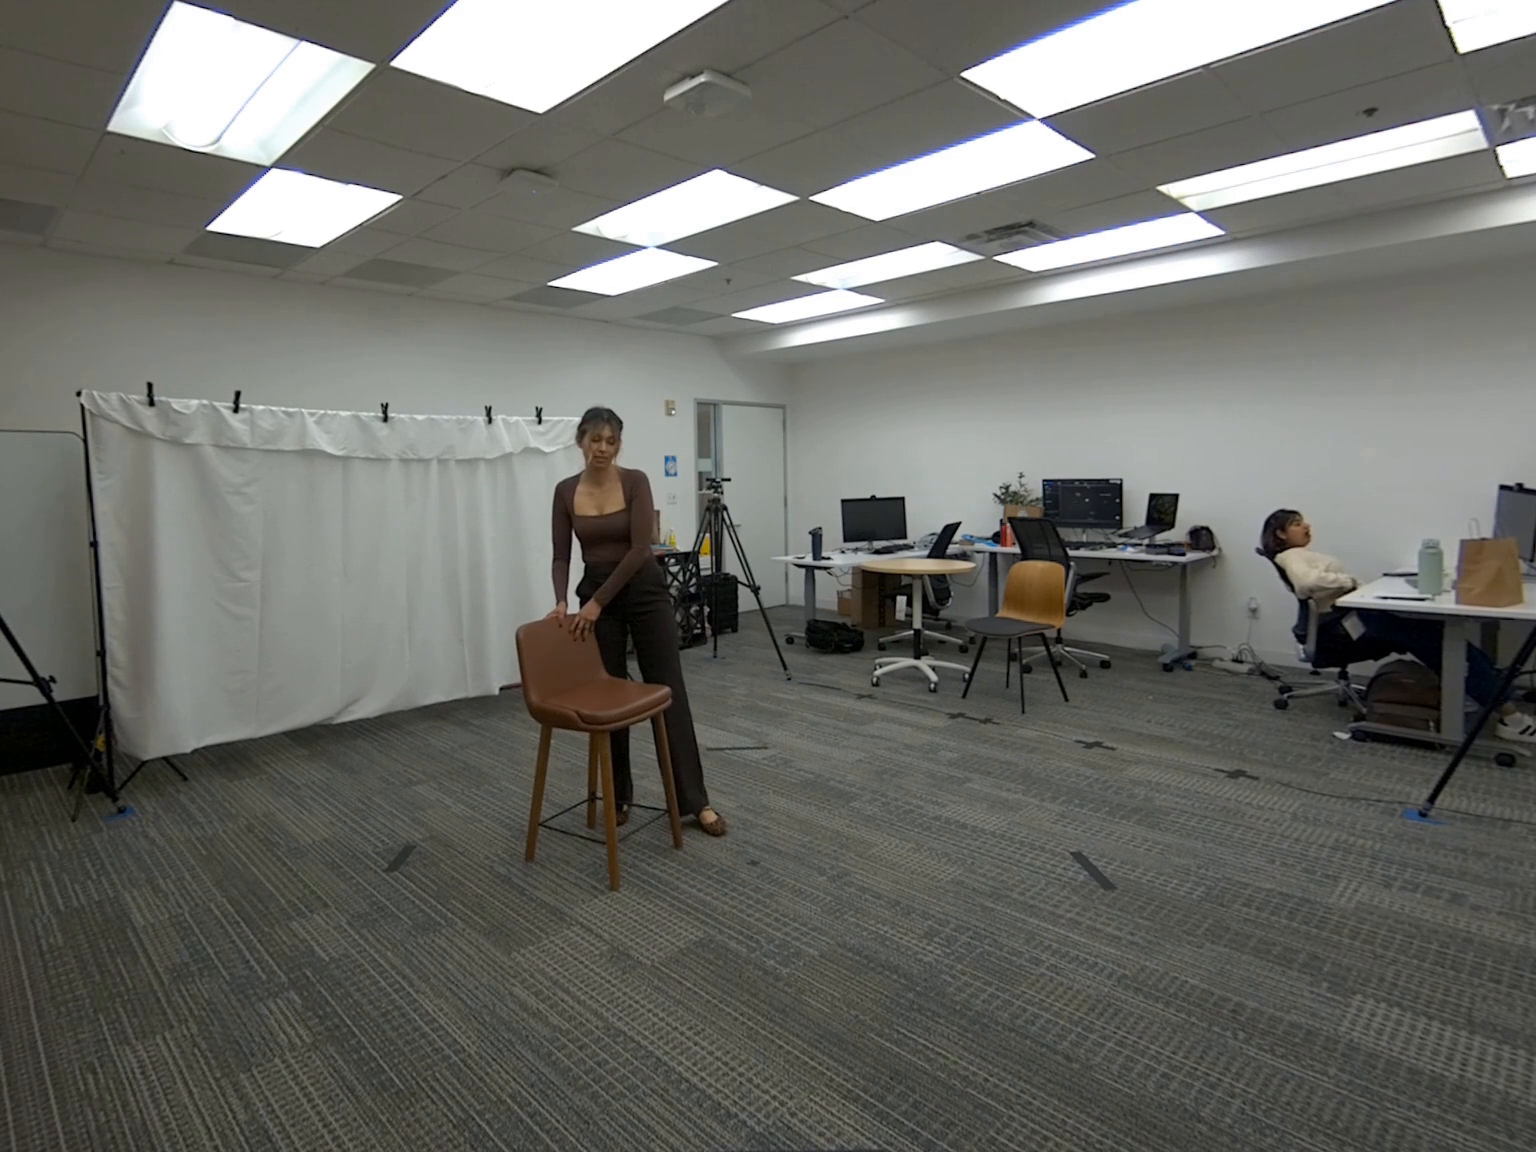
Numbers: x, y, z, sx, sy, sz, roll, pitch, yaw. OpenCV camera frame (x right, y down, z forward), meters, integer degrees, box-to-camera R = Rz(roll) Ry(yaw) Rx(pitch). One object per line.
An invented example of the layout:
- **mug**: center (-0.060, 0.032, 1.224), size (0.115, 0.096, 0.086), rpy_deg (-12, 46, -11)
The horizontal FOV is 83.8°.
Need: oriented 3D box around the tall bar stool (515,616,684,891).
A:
- **tall bar stool**: center (-0.636, 0.611, 3.173), size (0.479, 0.887, 0.446), rpy_deg (-1, 3, 31)
